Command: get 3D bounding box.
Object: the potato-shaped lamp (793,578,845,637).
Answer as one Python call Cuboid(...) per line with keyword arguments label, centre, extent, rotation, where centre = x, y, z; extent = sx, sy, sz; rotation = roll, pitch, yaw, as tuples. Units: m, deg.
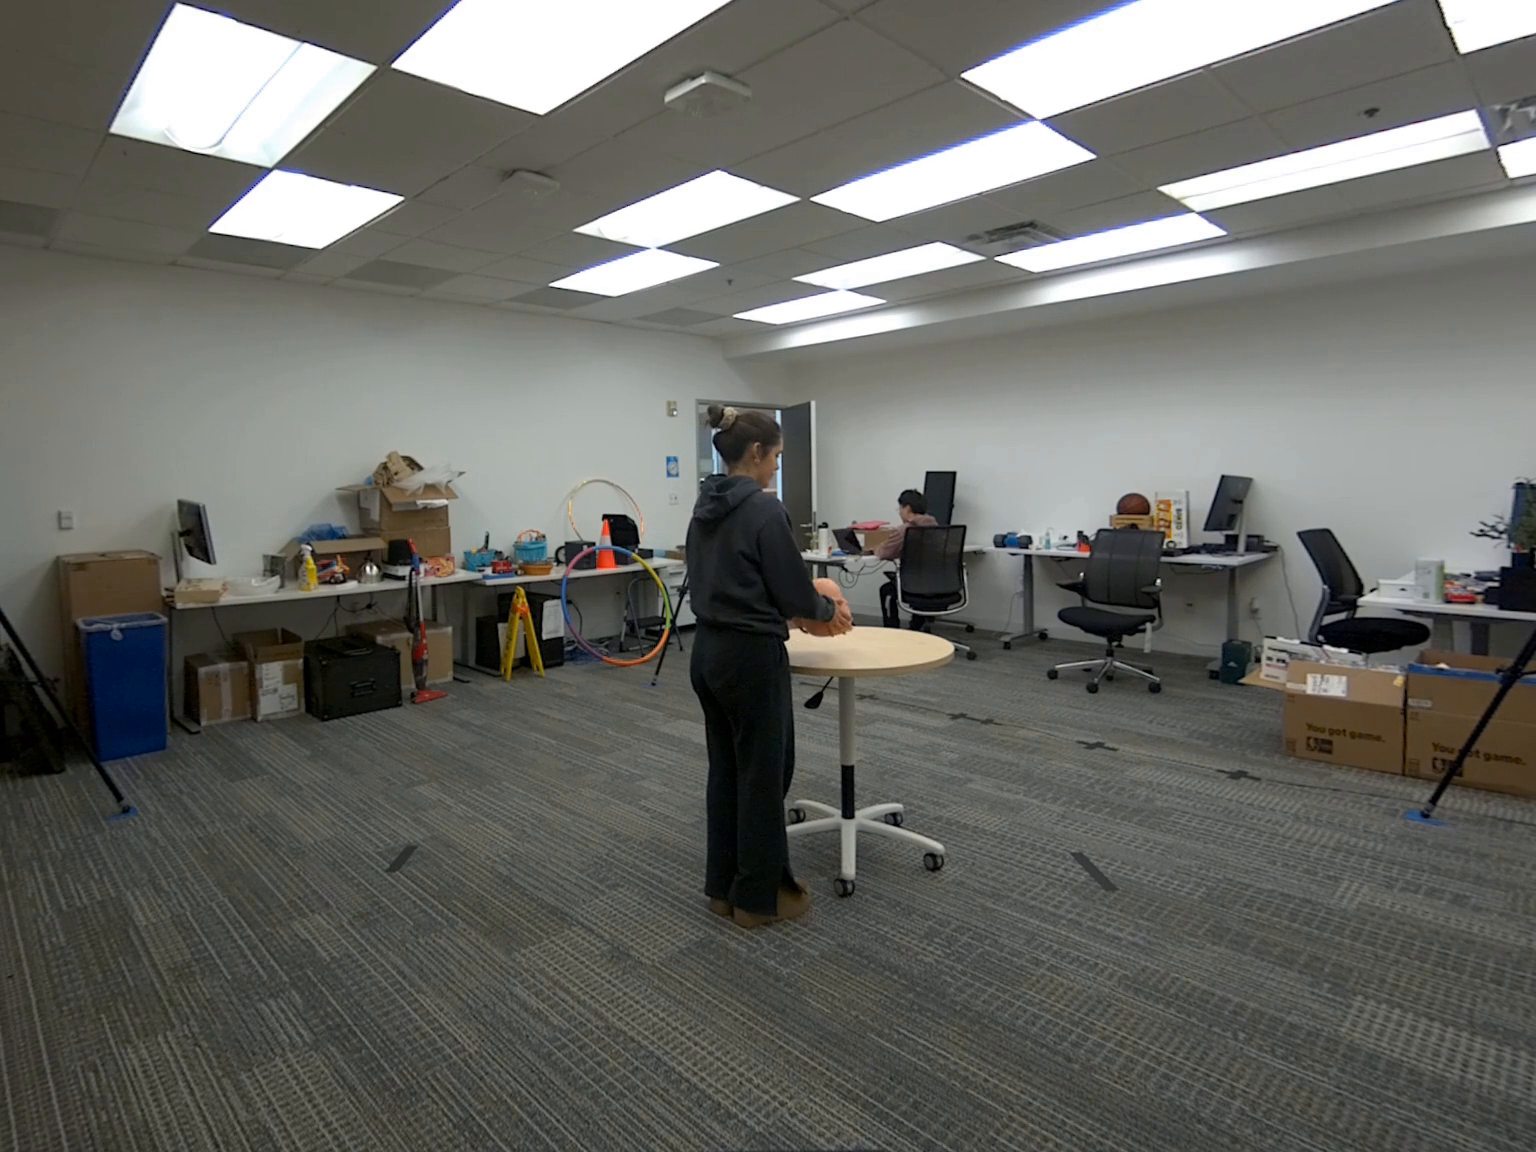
Cuboid(label="potato-shaped lamp", centre=(0.194, 0.108, 2.915), extent=(0.168, 0.197, 0.169), rotation=(-12, 9, -34))
